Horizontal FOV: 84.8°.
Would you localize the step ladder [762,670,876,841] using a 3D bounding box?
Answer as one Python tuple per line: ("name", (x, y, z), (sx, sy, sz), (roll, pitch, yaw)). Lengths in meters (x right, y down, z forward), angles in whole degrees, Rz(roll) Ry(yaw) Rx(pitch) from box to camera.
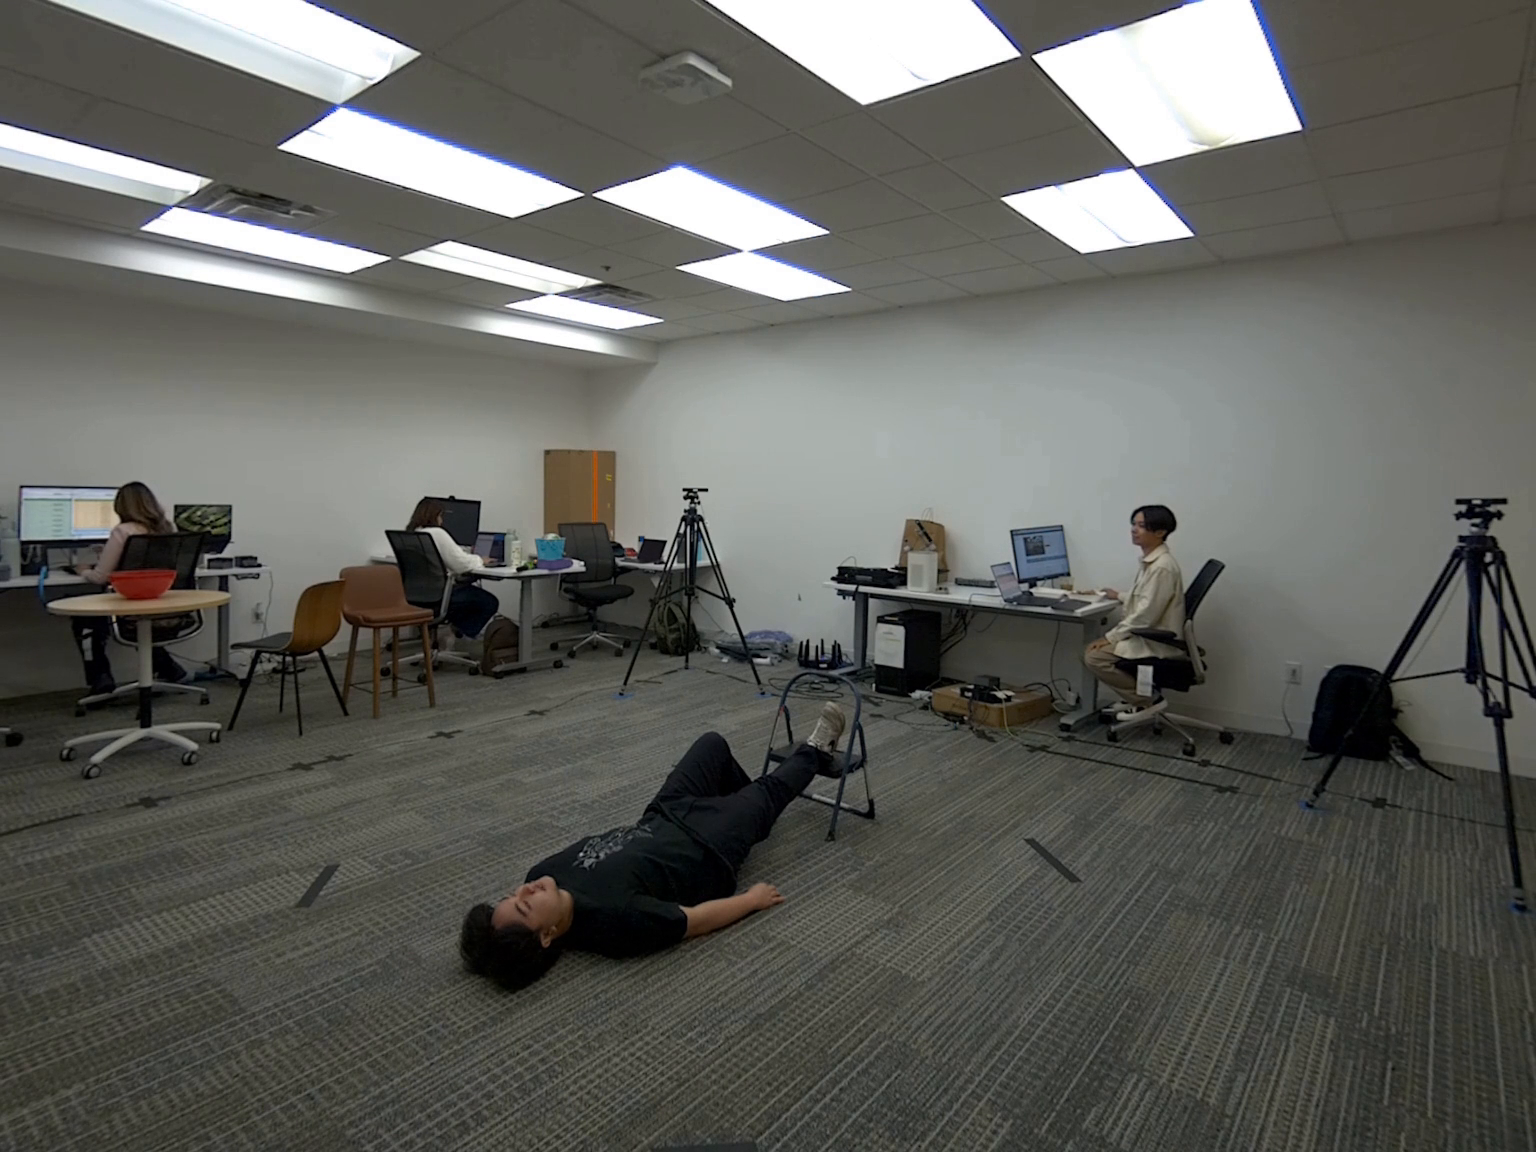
("step ladder", (0.196, 0.728, 3.640), (0.445, 0.604, 0.339), (5, 5, 40))
